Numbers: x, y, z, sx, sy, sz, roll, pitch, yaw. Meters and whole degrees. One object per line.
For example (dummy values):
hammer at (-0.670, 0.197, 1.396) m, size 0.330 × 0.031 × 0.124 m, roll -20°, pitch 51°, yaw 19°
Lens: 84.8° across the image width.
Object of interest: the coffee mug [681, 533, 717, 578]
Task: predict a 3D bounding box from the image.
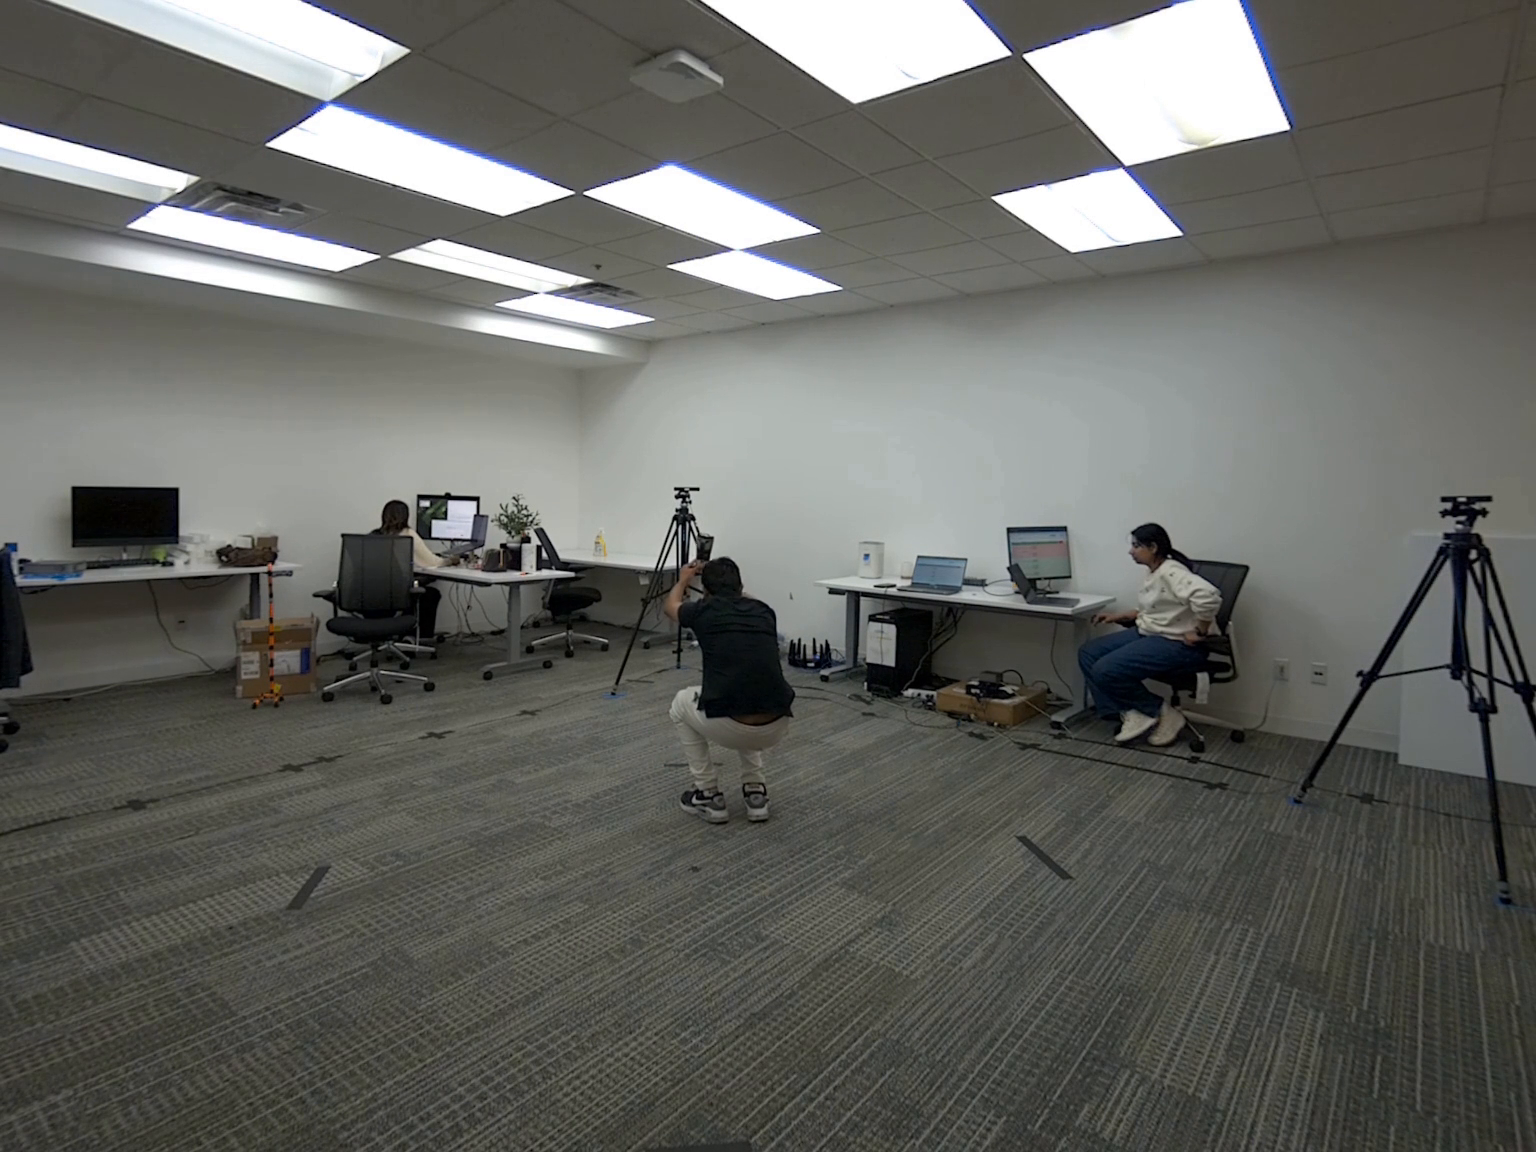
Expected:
coffee mug at (-0.347, -0.107, 4.209) m, size 0.118 × 0.201 × 0.091 m, roll -1°, pitch 15°, yaw -43°
